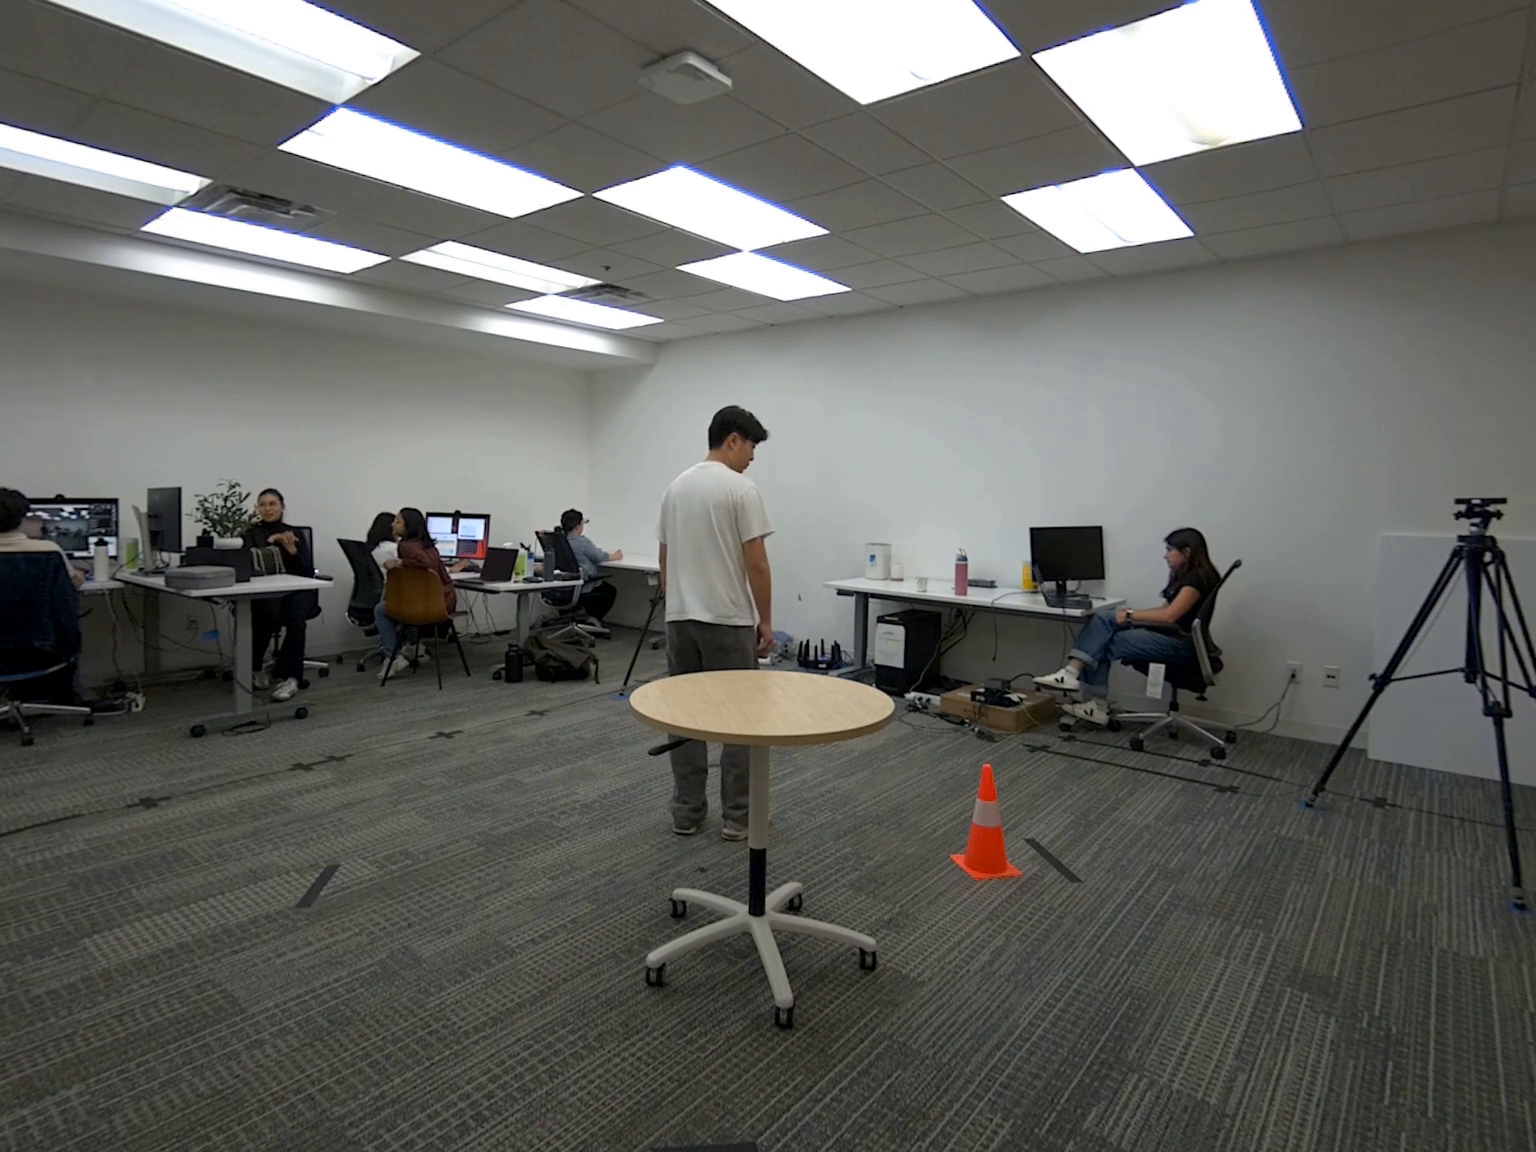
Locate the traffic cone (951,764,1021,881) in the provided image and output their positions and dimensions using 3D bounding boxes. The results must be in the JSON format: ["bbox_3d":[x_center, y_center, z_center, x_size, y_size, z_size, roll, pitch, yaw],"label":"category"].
[{"bbox_3d":[0.834,0.894,3.192,0.201,0.382,0.208,1,5,-17],"label":"traffic cone"}]
